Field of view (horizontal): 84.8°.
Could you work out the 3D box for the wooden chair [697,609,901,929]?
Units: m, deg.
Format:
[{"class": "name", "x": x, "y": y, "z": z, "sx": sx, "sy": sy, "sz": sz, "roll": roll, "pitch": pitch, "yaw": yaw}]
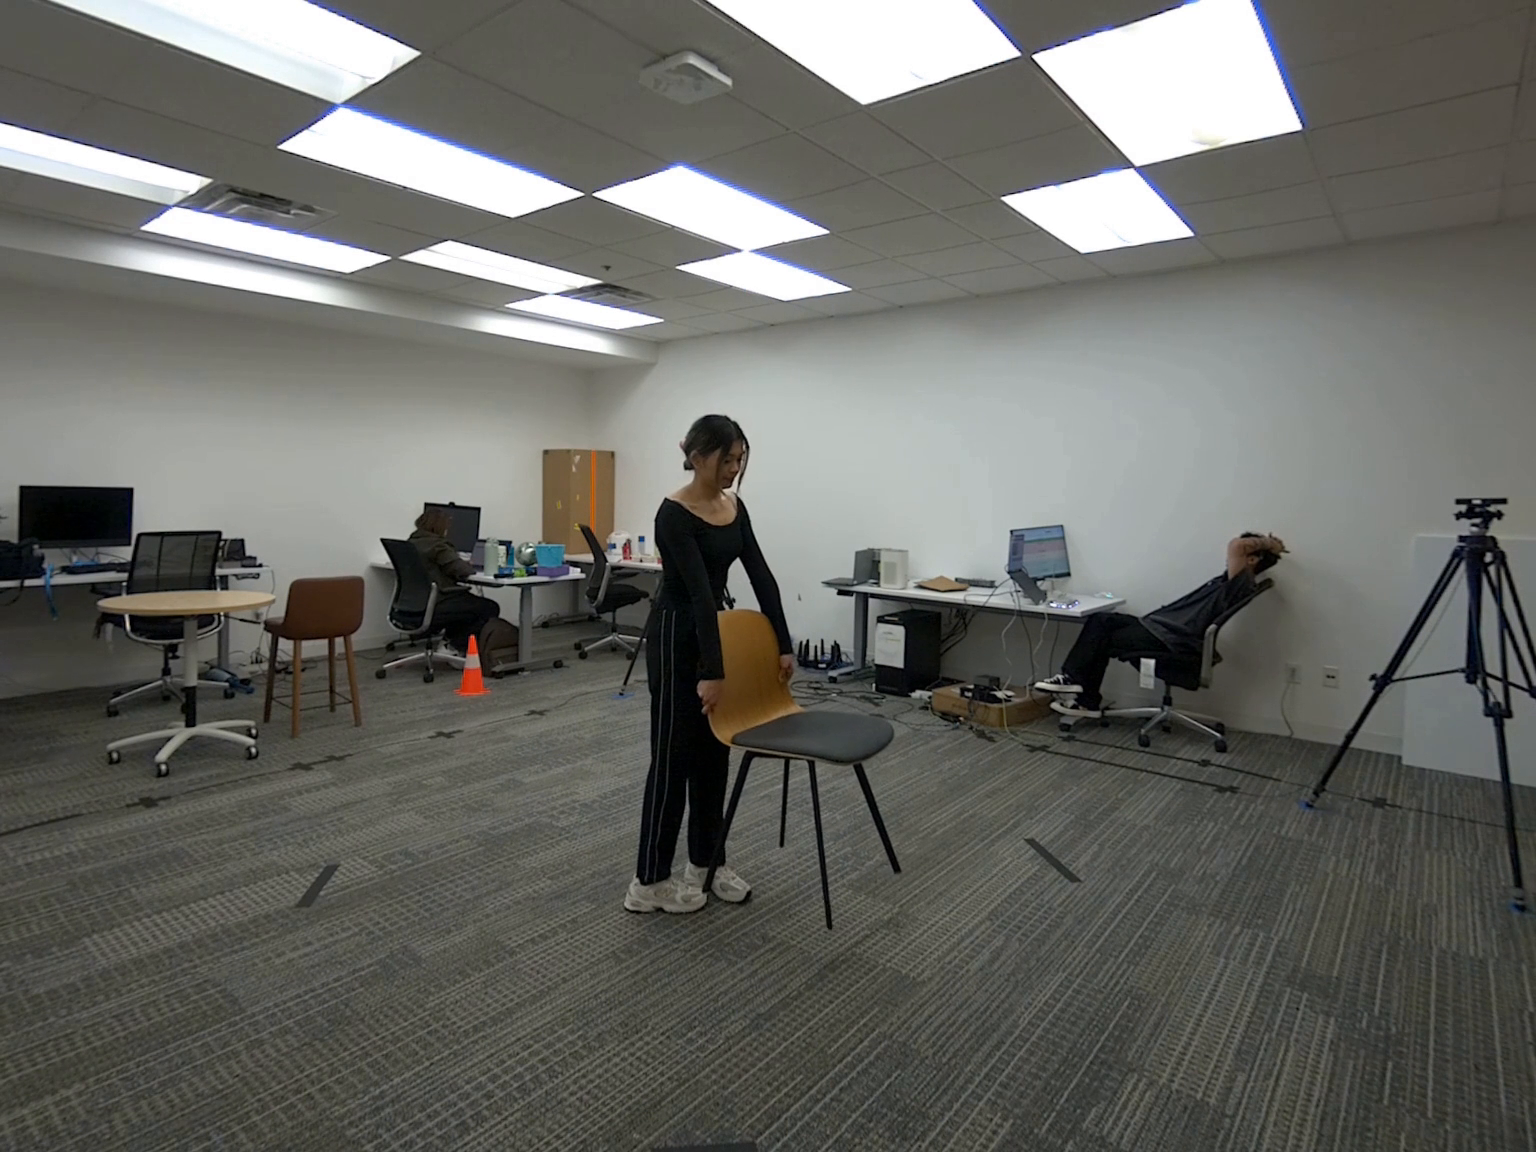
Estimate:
[{"class": "wooden chair", "x": 0.092, "y": 0.537, "z": 2.653, "sx": 0.537, "sy": 0.880, "sz": 0.464, "roll": -7, "pitch": -2, "yaw": 35}]
